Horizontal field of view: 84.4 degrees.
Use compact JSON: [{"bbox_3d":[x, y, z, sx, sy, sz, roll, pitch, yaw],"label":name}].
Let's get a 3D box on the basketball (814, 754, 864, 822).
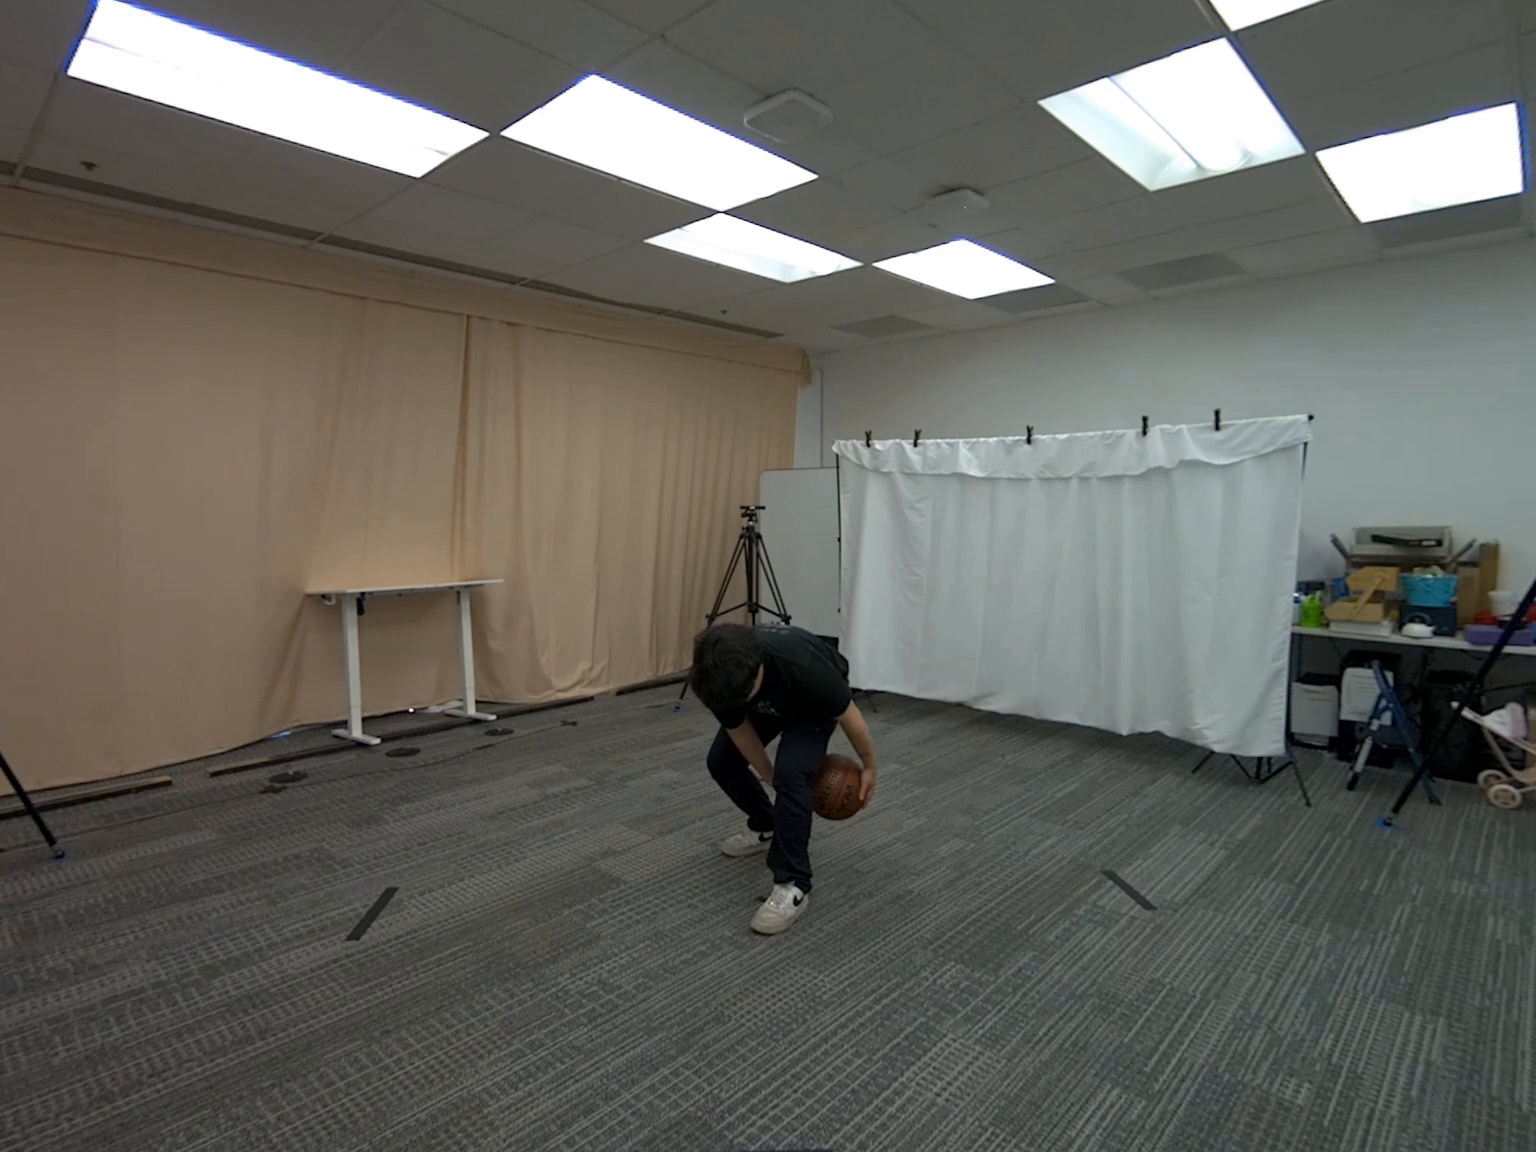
[{"bbox_3d":[0.248,0.770,3.101,0.236,0.235,0.237,0,4,-2],"label":"basketball"}]
